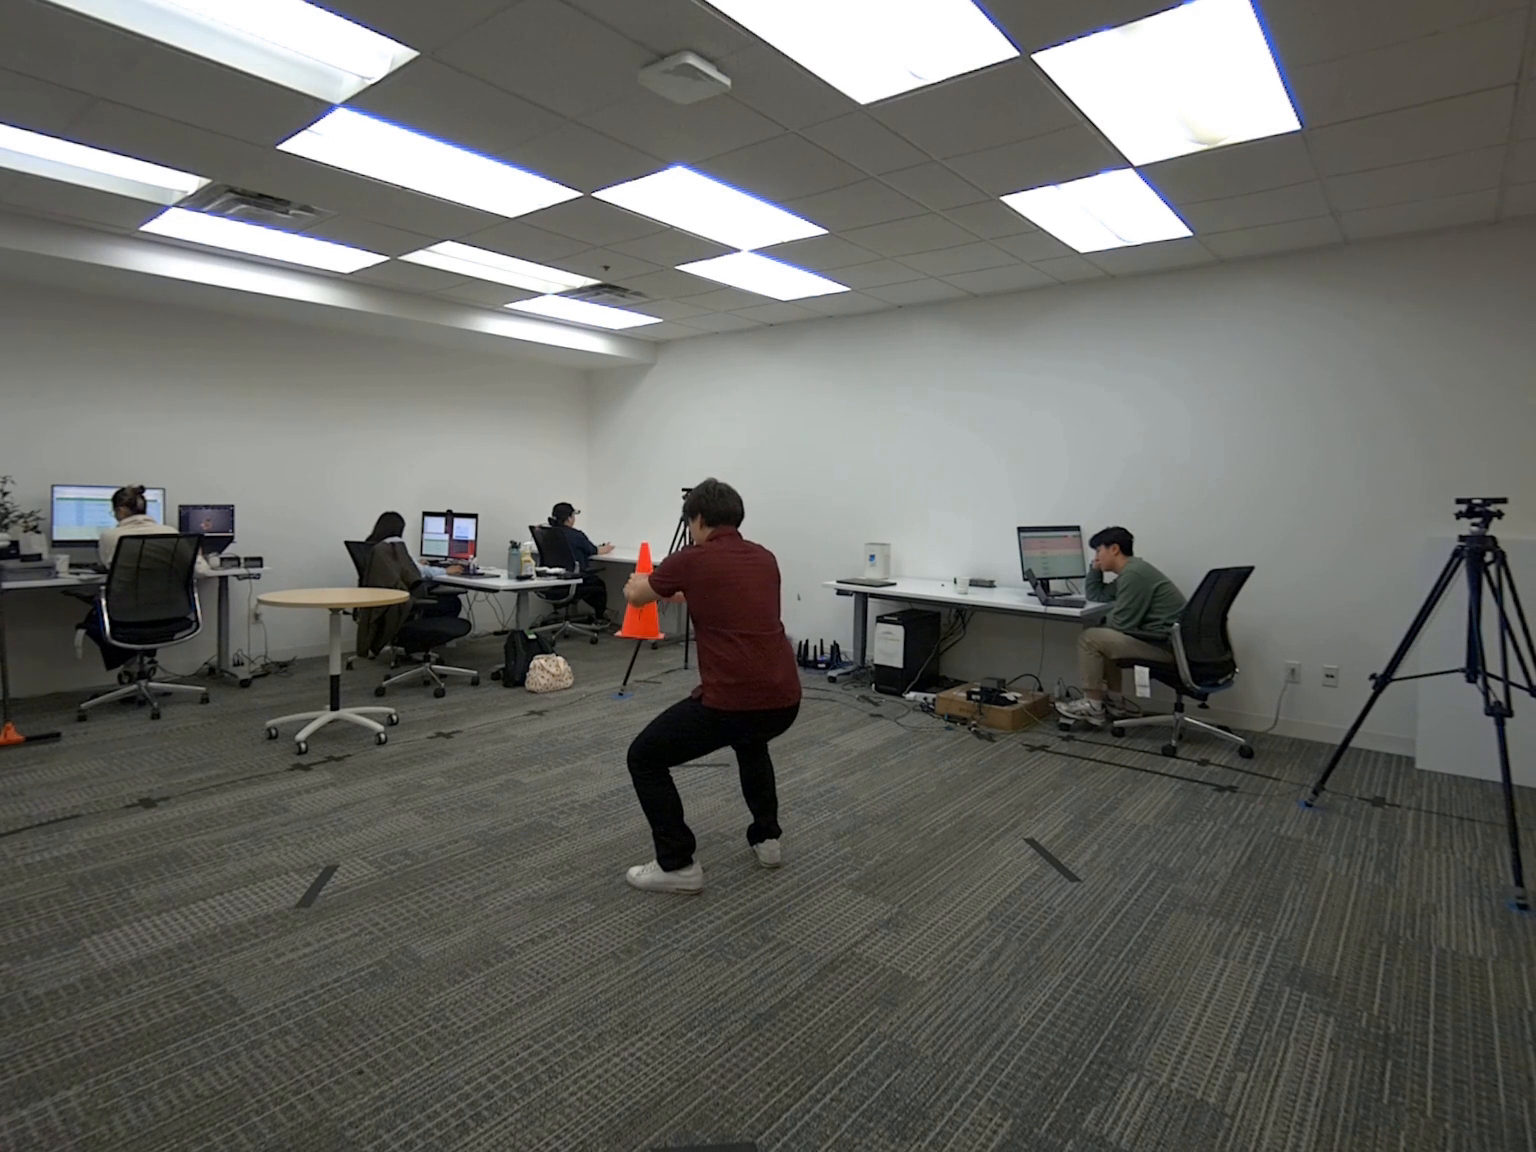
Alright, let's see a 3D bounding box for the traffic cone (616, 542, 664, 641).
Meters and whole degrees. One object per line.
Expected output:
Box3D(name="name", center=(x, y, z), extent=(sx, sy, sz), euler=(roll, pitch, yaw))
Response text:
Box3D(name="traffic cone", center=(-0.522, 0.050, 3.504), extent=(0.203, 0.383, 0.205), euler=(4, 1, -9))
